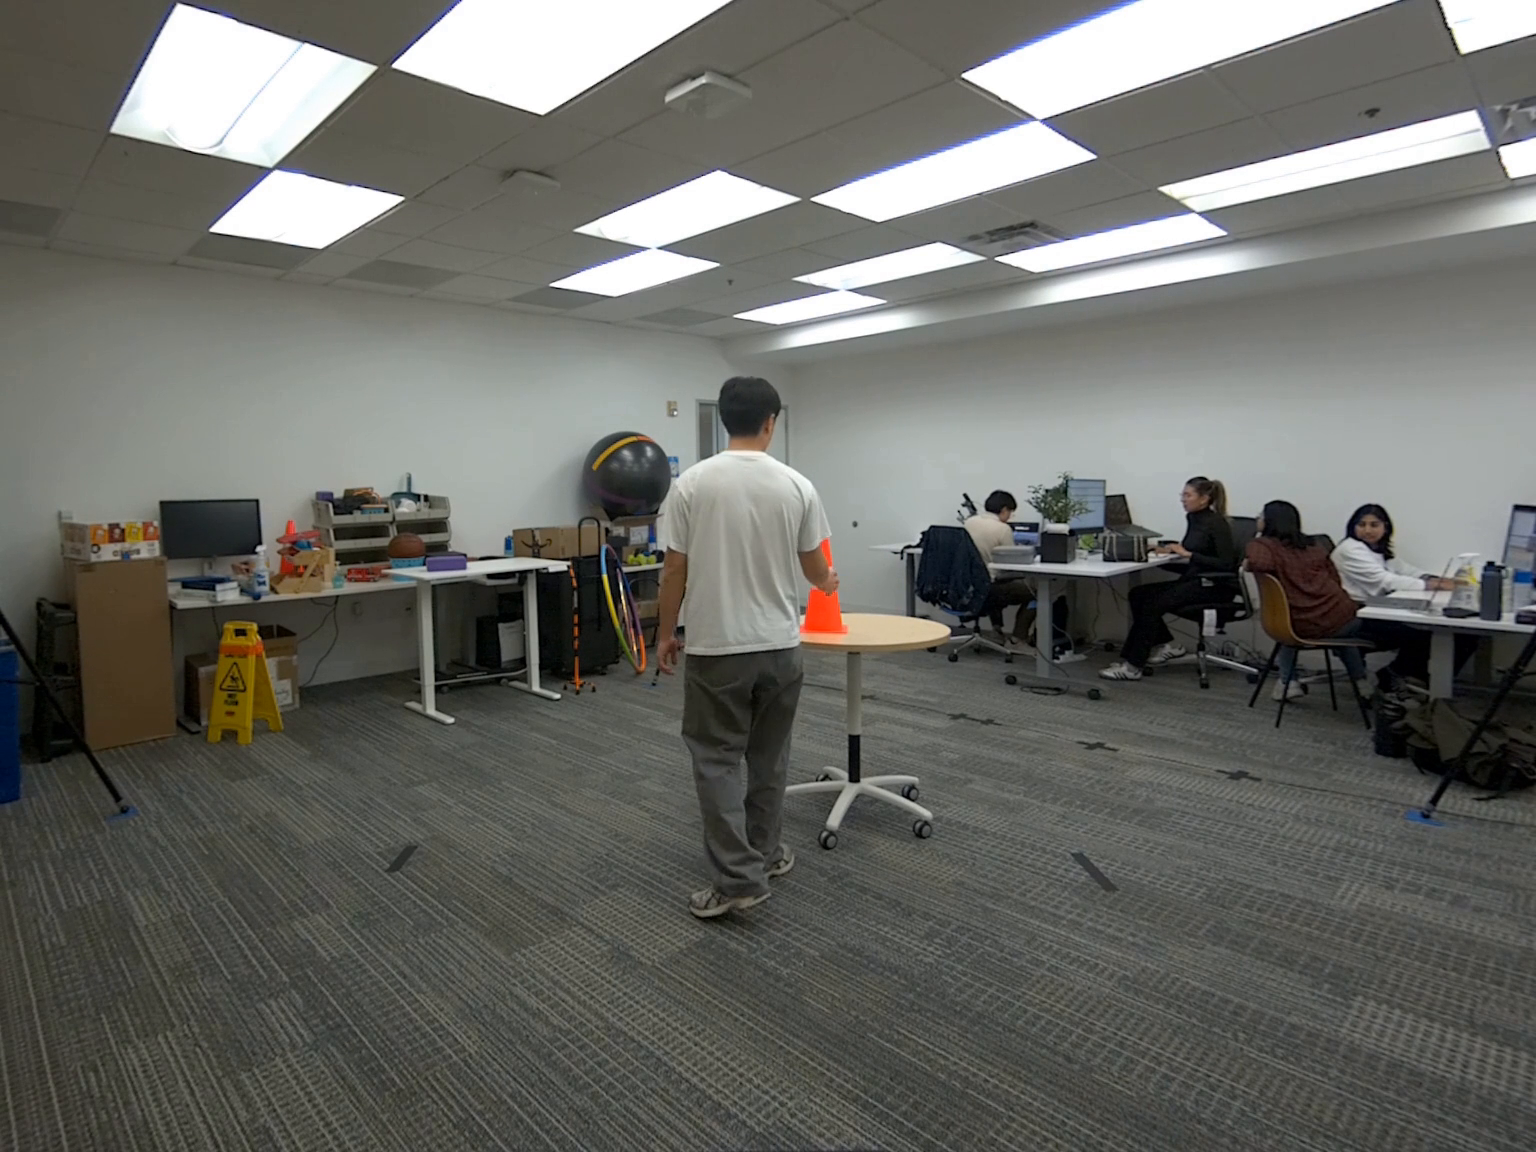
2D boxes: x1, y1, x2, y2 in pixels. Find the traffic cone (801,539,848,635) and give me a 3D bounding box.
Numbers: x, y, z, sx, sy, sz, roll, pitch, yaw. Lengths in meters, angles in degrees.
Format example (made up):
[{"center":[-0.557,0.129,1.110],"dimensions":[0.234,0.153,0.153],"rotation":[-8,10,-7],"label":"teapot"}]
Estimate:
[{"center":[0.225,0.032,3.456],"dimensions":[0.205,0.382,0.204],"rotation":[0,6,10],"label":"traffic cone"}]
